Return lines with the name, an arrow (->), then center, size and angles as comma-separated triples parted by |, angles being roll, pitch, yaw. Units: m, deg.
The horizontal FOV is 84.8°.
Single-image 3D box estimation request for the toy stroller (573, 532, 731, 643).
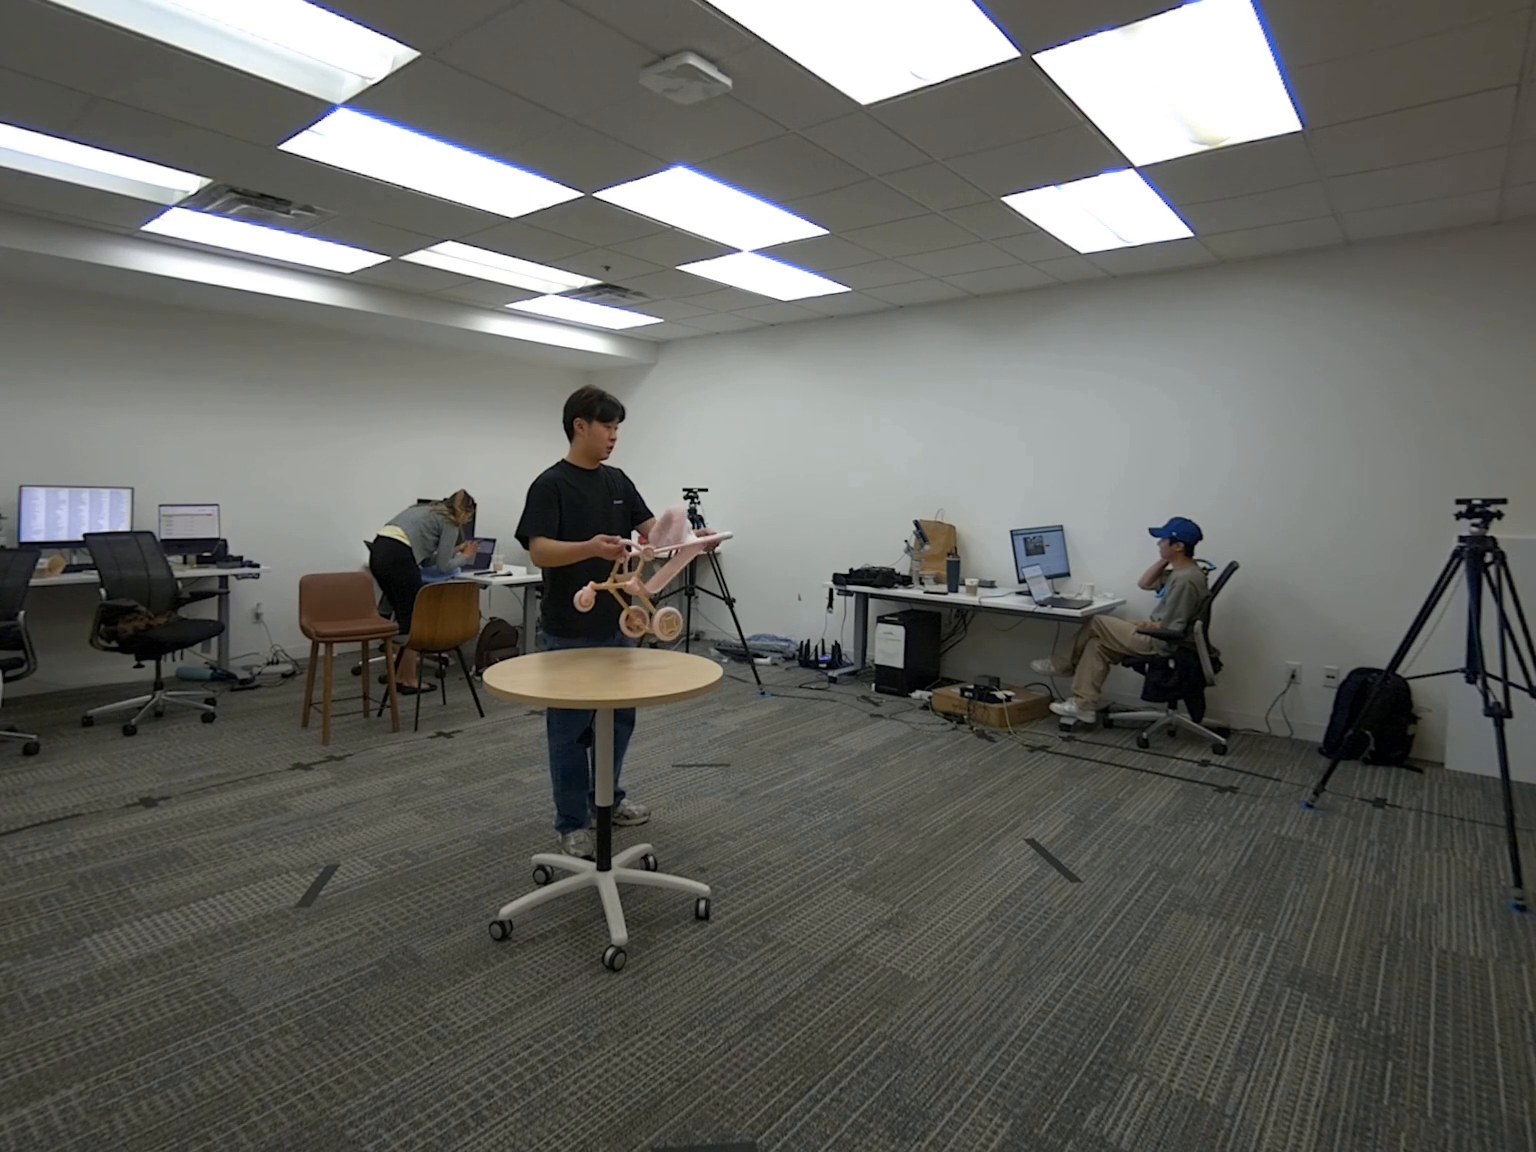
toy stroller -> -0.408, -0.028, 2.896 | 0.332, 0.537, 0.287 | 39, -21, -20
